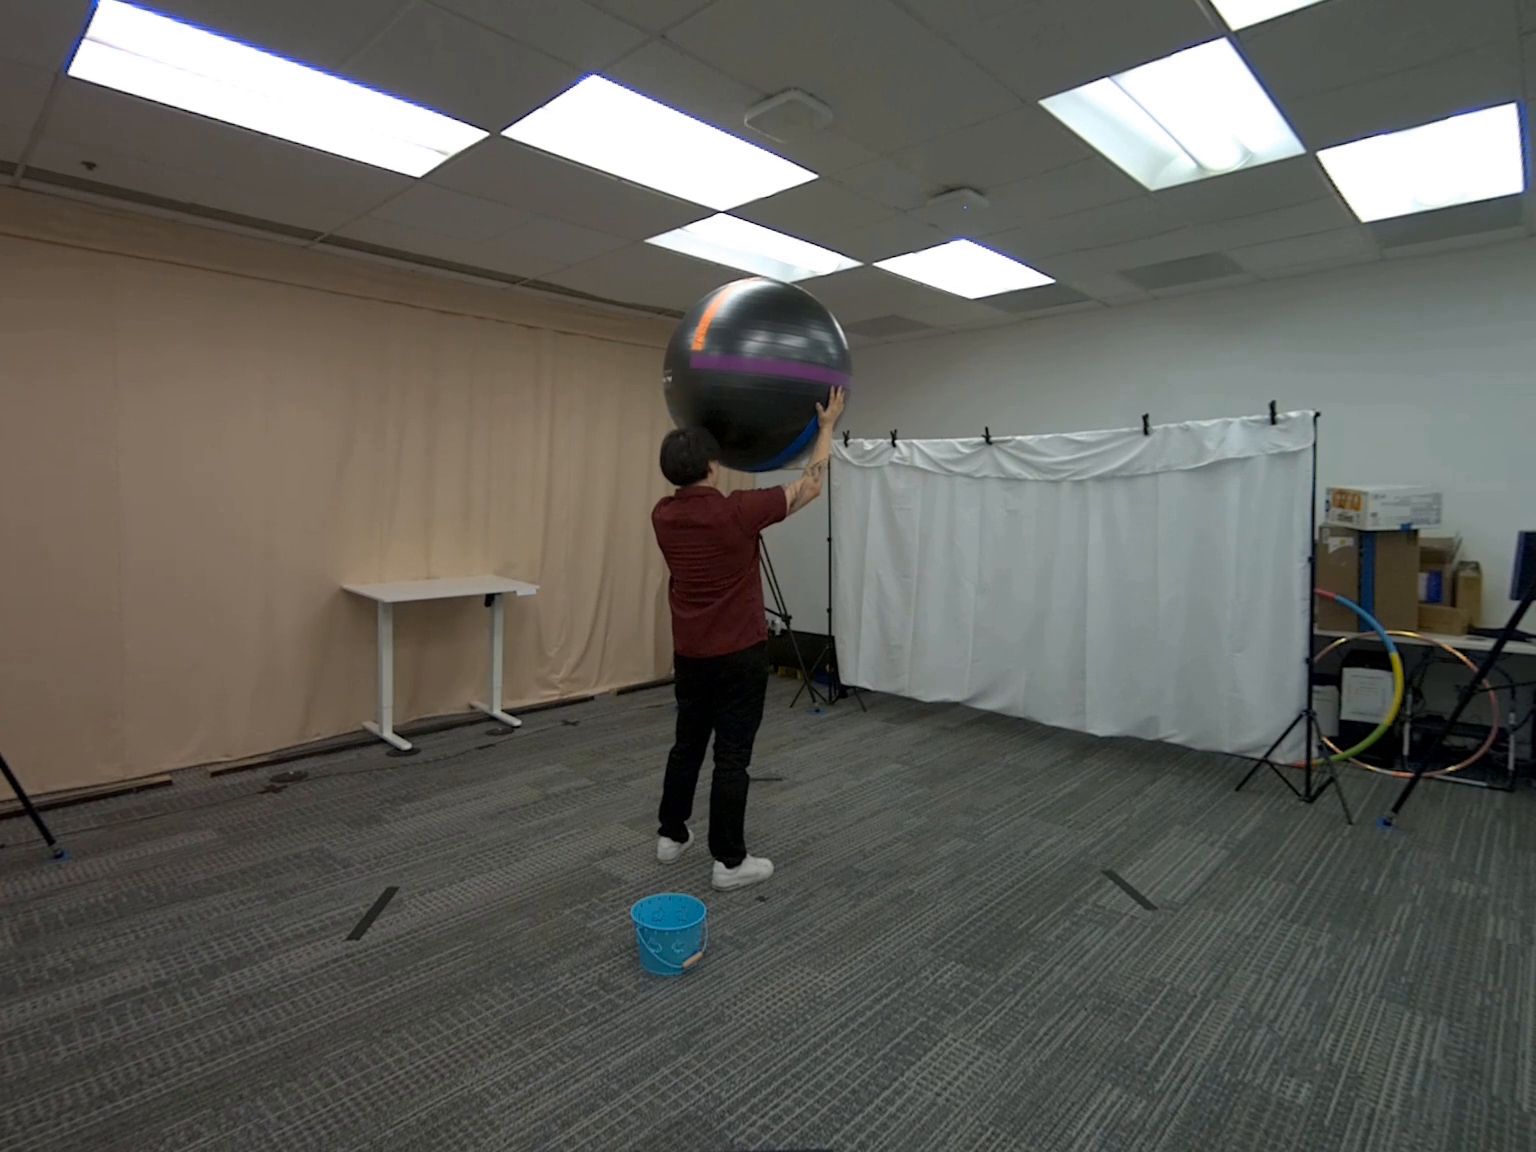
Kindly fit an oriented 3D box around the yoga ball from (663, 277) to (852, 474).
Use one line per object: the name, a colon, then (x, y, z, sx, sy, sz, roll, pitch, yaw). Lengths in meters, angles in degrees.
yoga ball: (-0.042, -0.790, 3.381, 0.757, 0.756, 0.760, 0, 4, -2)
